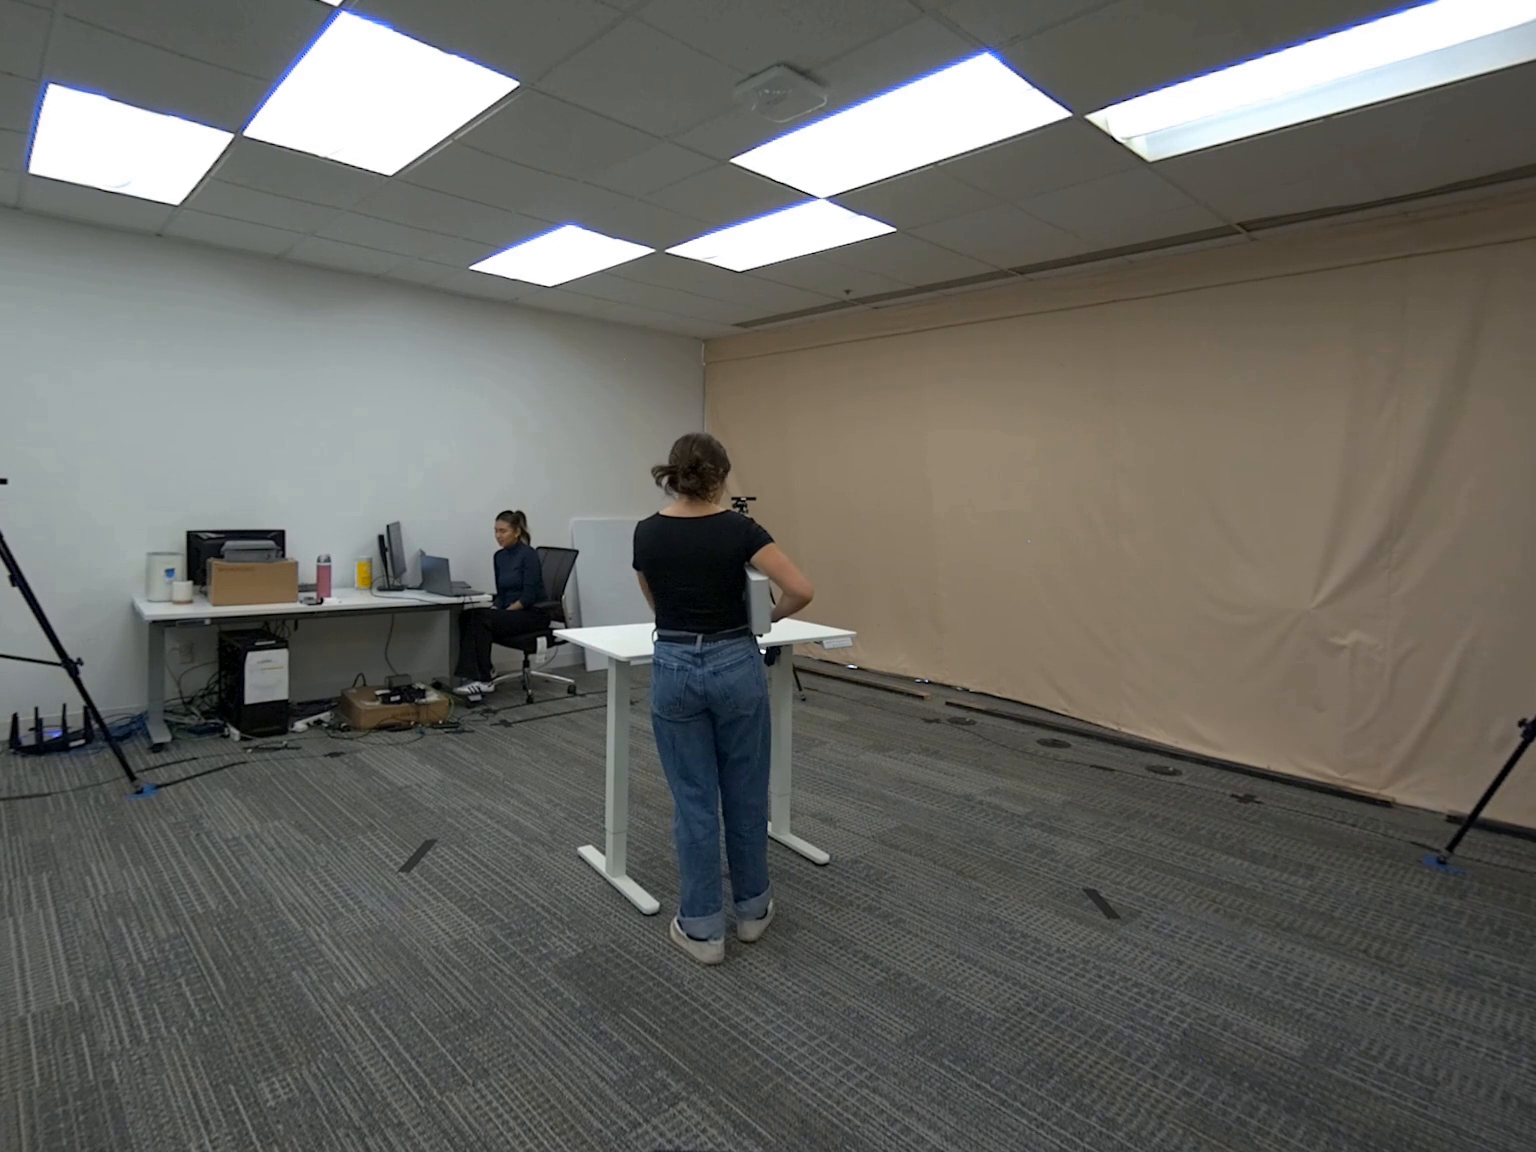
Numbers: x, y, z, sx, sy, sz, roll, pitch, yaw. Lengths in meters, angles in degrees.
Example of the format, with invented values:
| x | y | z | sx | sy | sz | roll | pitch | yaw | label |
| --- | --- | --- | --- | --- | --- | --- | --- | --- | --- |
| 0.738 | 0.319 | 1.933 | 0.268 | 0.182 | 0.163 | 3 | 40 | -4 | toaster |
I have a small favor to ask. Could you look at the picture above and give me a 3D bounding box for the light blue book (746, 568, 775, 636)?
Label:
| x | y | z | sx | sy | sz | roll | pitch | yaw | label |
| --- | --- | --- | --- | --- | --- | --- | --- | --- | --- |
| -0.057 | 0.033 | 2.552 | 0.058 | 0.188 | 0.268 | -11 | 27 | -11 | light blue book |
